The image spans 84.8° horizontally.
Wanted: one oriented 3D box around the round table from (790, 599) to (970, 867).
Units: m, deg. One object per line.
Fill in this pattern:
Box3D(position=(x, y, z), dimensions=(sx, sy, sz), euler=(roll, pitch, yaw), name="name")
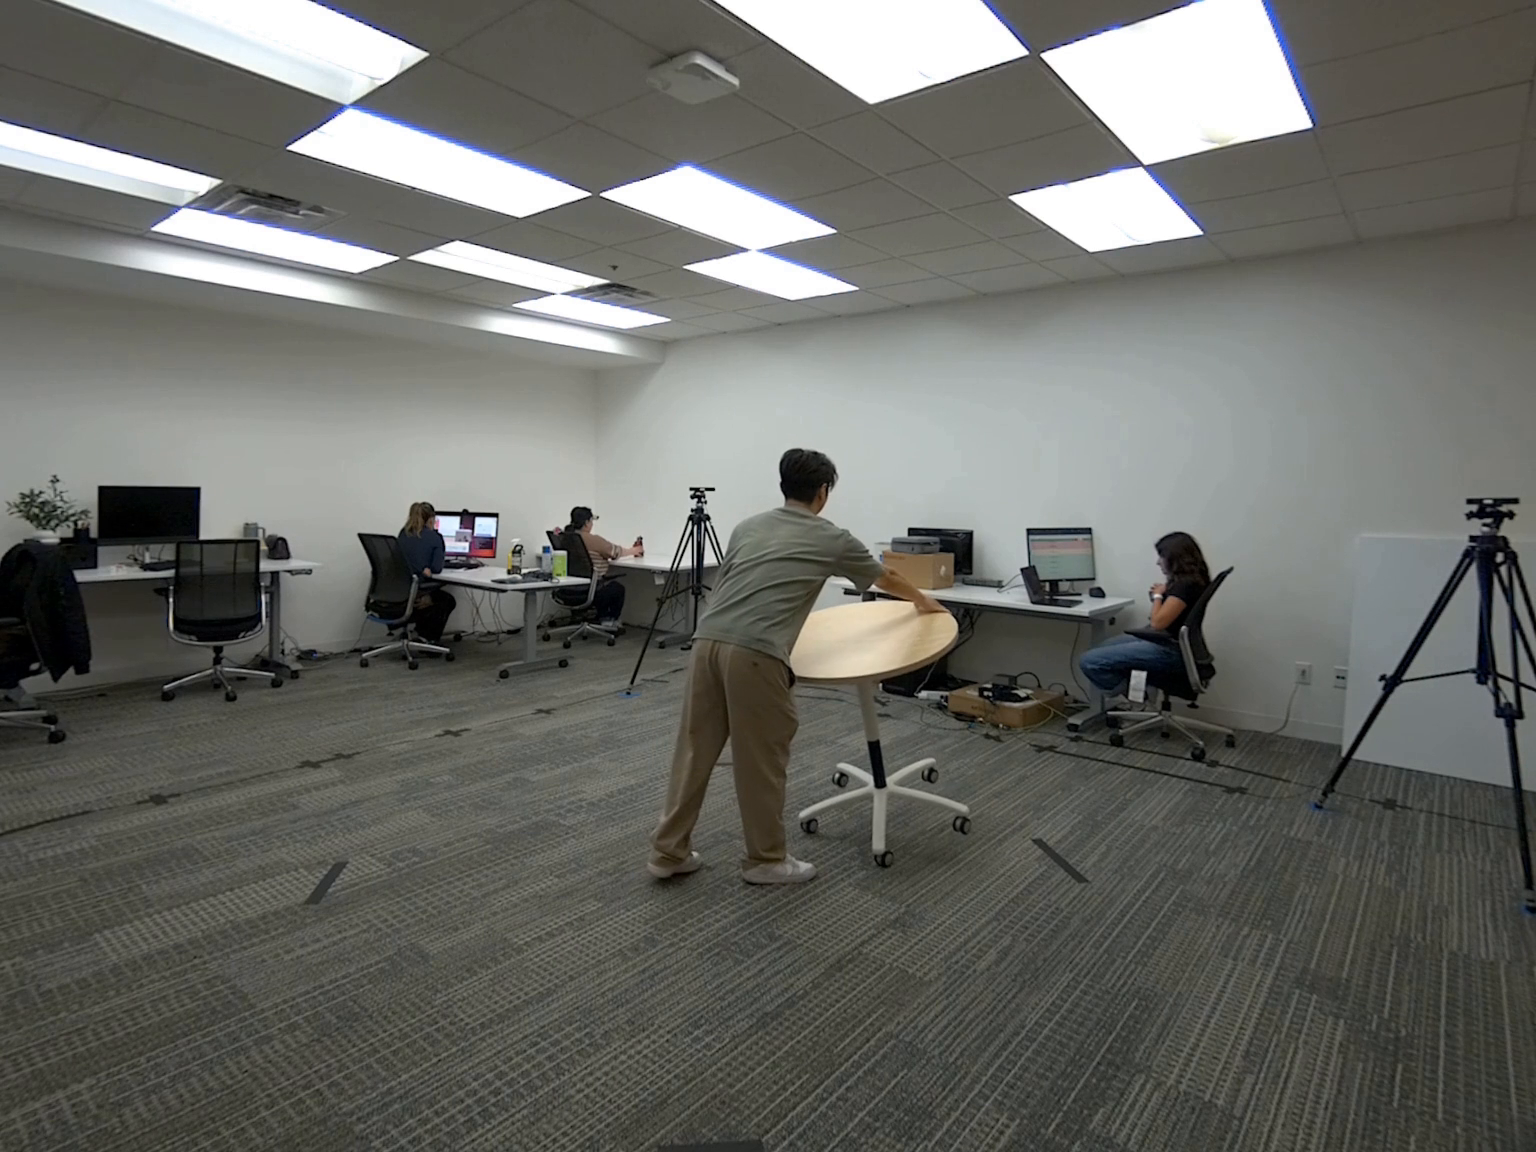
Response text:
Box3D(position=(0.413, 0.604, 3.381), dimensions=(0.786, 0.775, 0.796), euler=(-10, 14, 1), name="round table")
